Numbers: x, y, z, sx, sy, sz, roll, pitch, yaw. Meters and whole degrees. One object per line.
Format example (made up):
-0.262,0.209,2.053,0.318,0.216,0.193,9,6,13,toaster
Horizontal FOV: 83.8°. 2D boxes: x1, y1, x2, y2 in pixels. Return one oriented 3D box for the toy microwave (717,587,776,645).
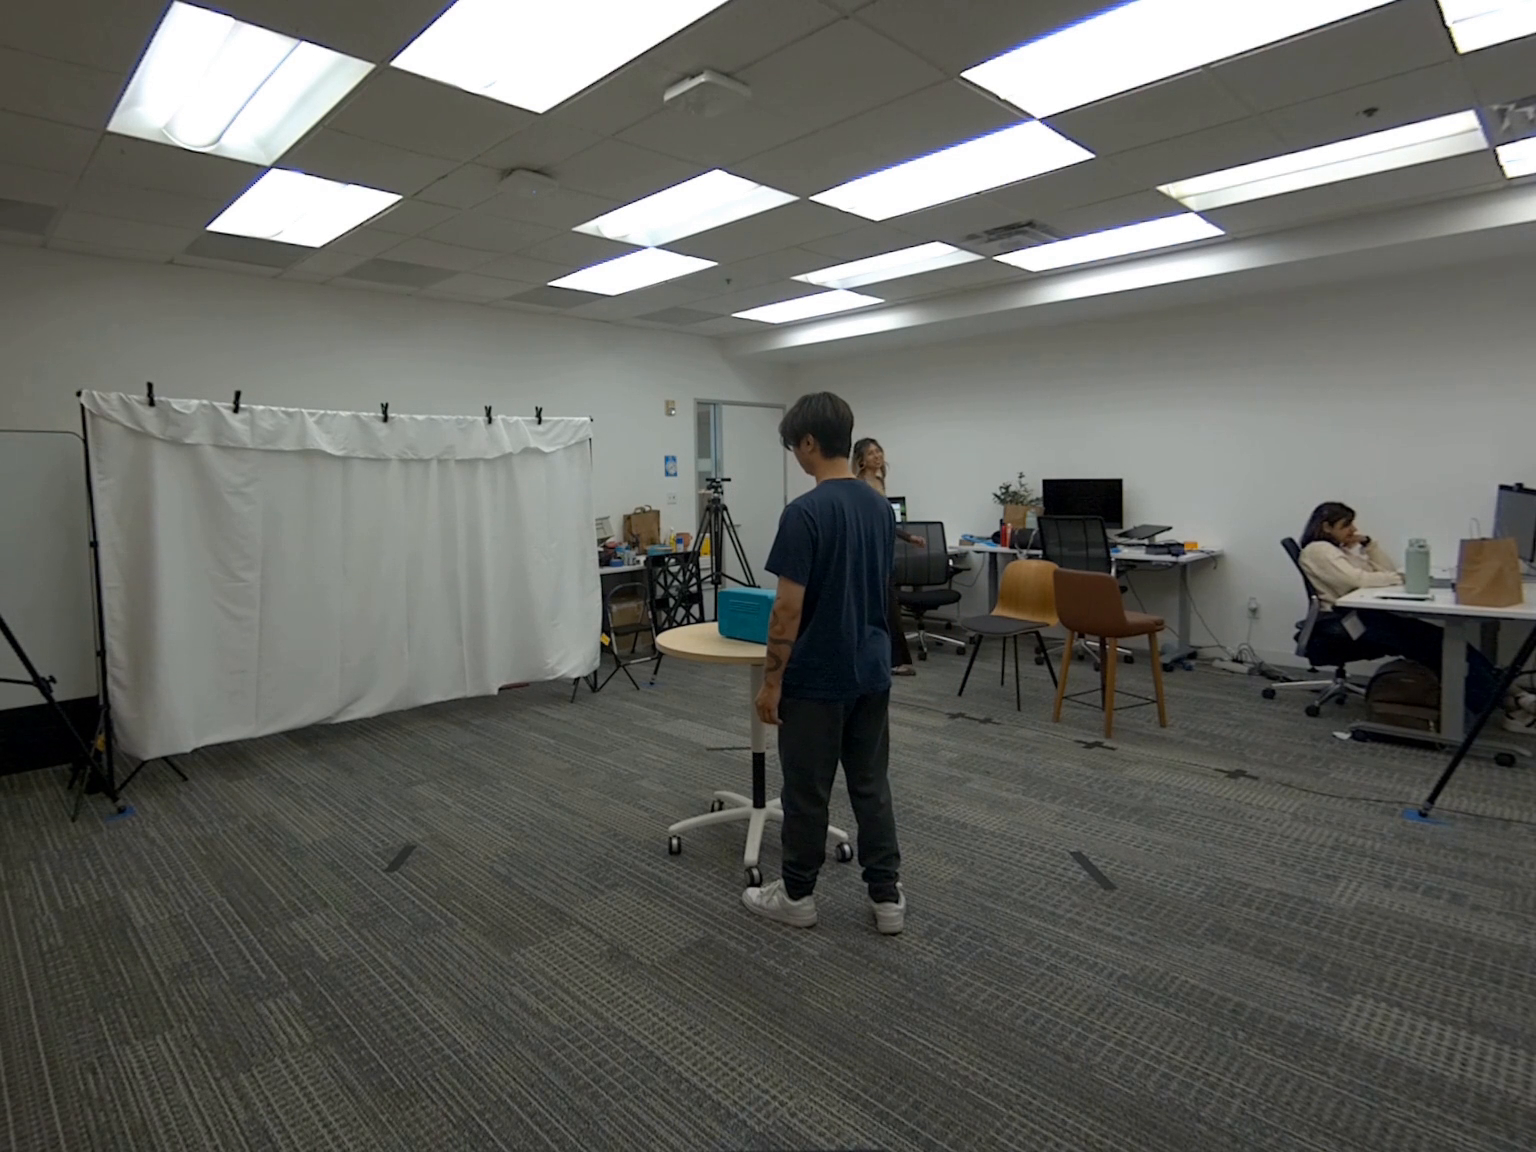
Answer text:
-0.038,0.143,3.179,0.295,0.183,0.148,6,8,43,toy microwave
